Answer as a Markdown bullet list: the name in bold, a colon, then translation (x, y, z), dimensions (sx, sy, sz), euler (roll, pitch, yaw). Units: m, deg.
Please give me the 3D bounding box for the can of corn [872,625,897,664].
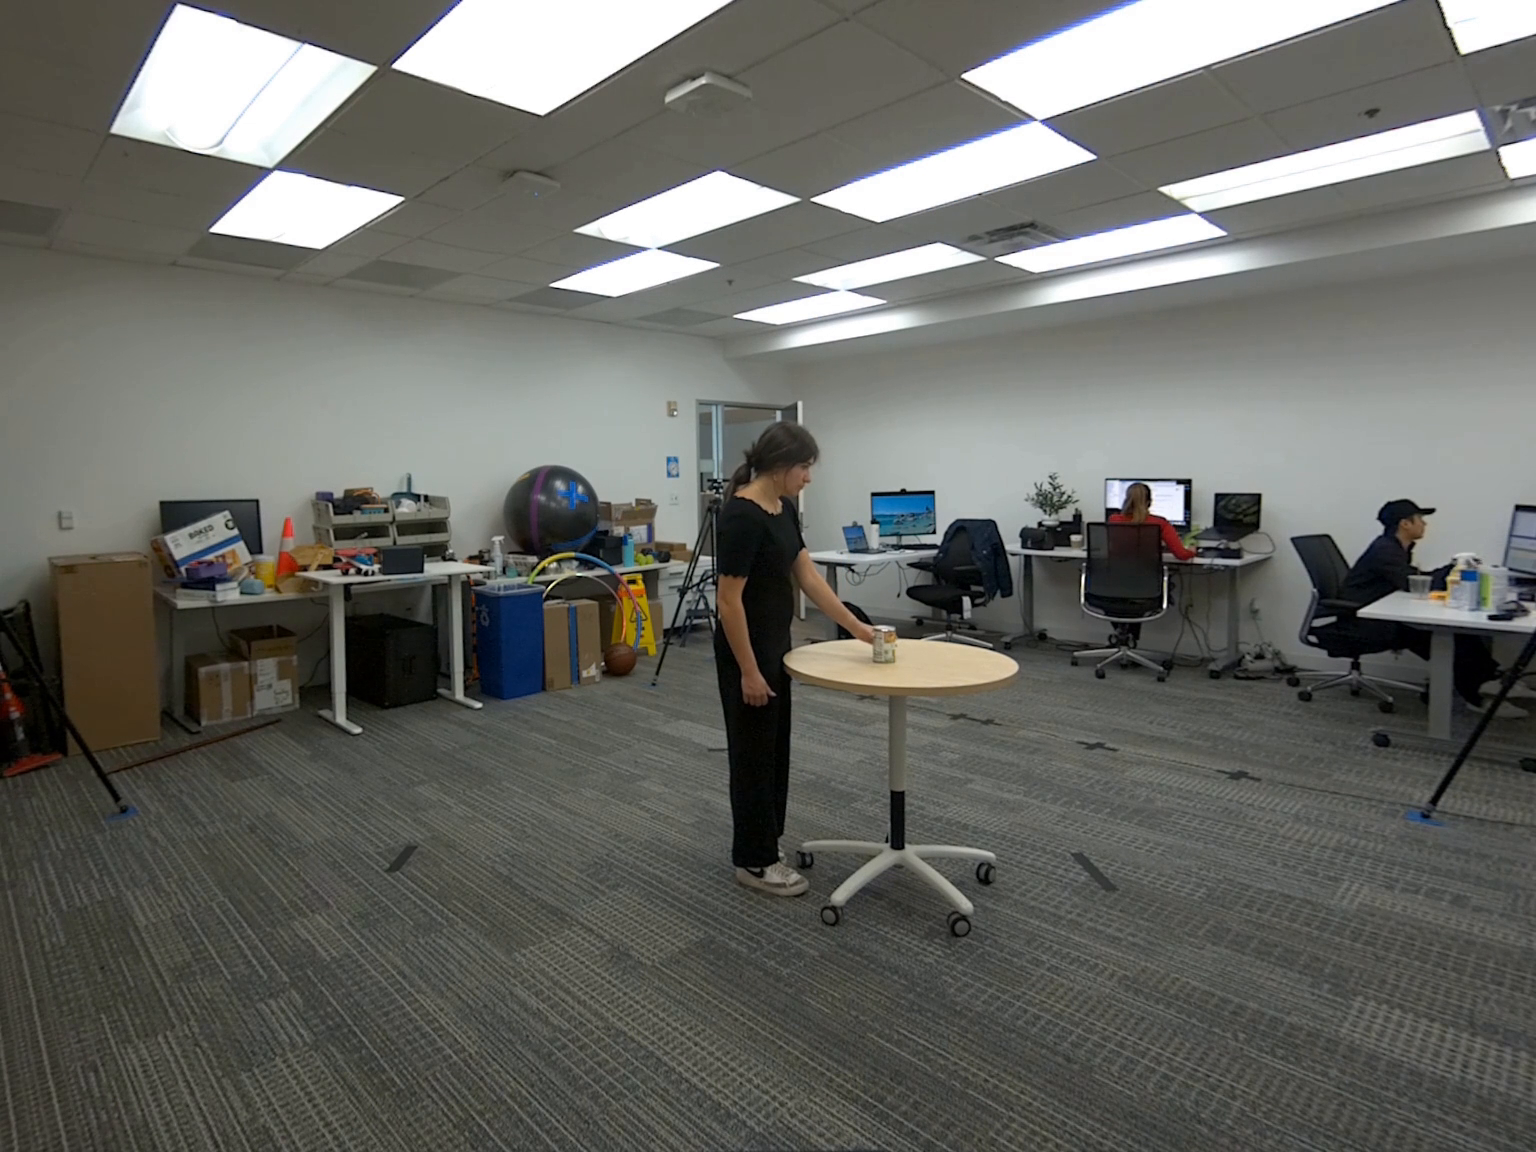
- **can of corn**: translation (0.380, 0.227, 2.831), dimensions (0.074, 0.110, 0.074), euler (-2, 5, -2)
